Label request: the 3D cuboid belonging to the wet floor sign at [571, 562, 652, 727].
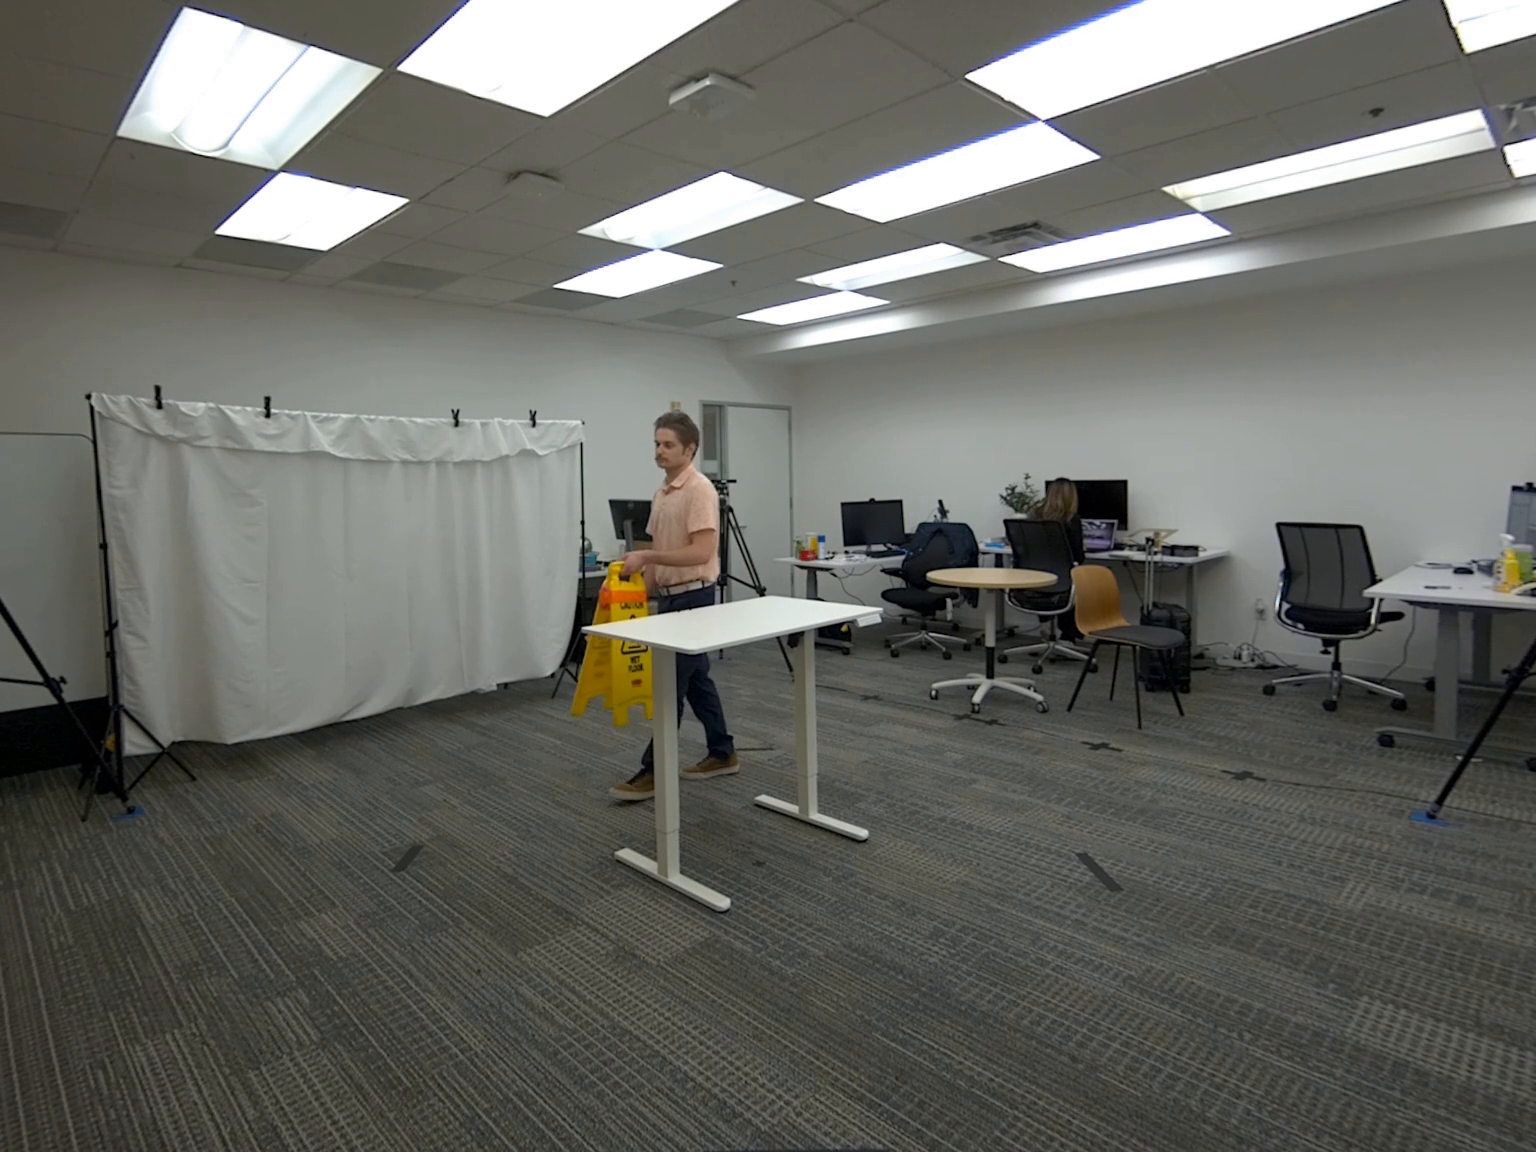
[{"bbox_3d":[-0.624,0.271,3.574,0.297,0.647,0.274,2,-1,31],"label":"wet floor sign"}]
